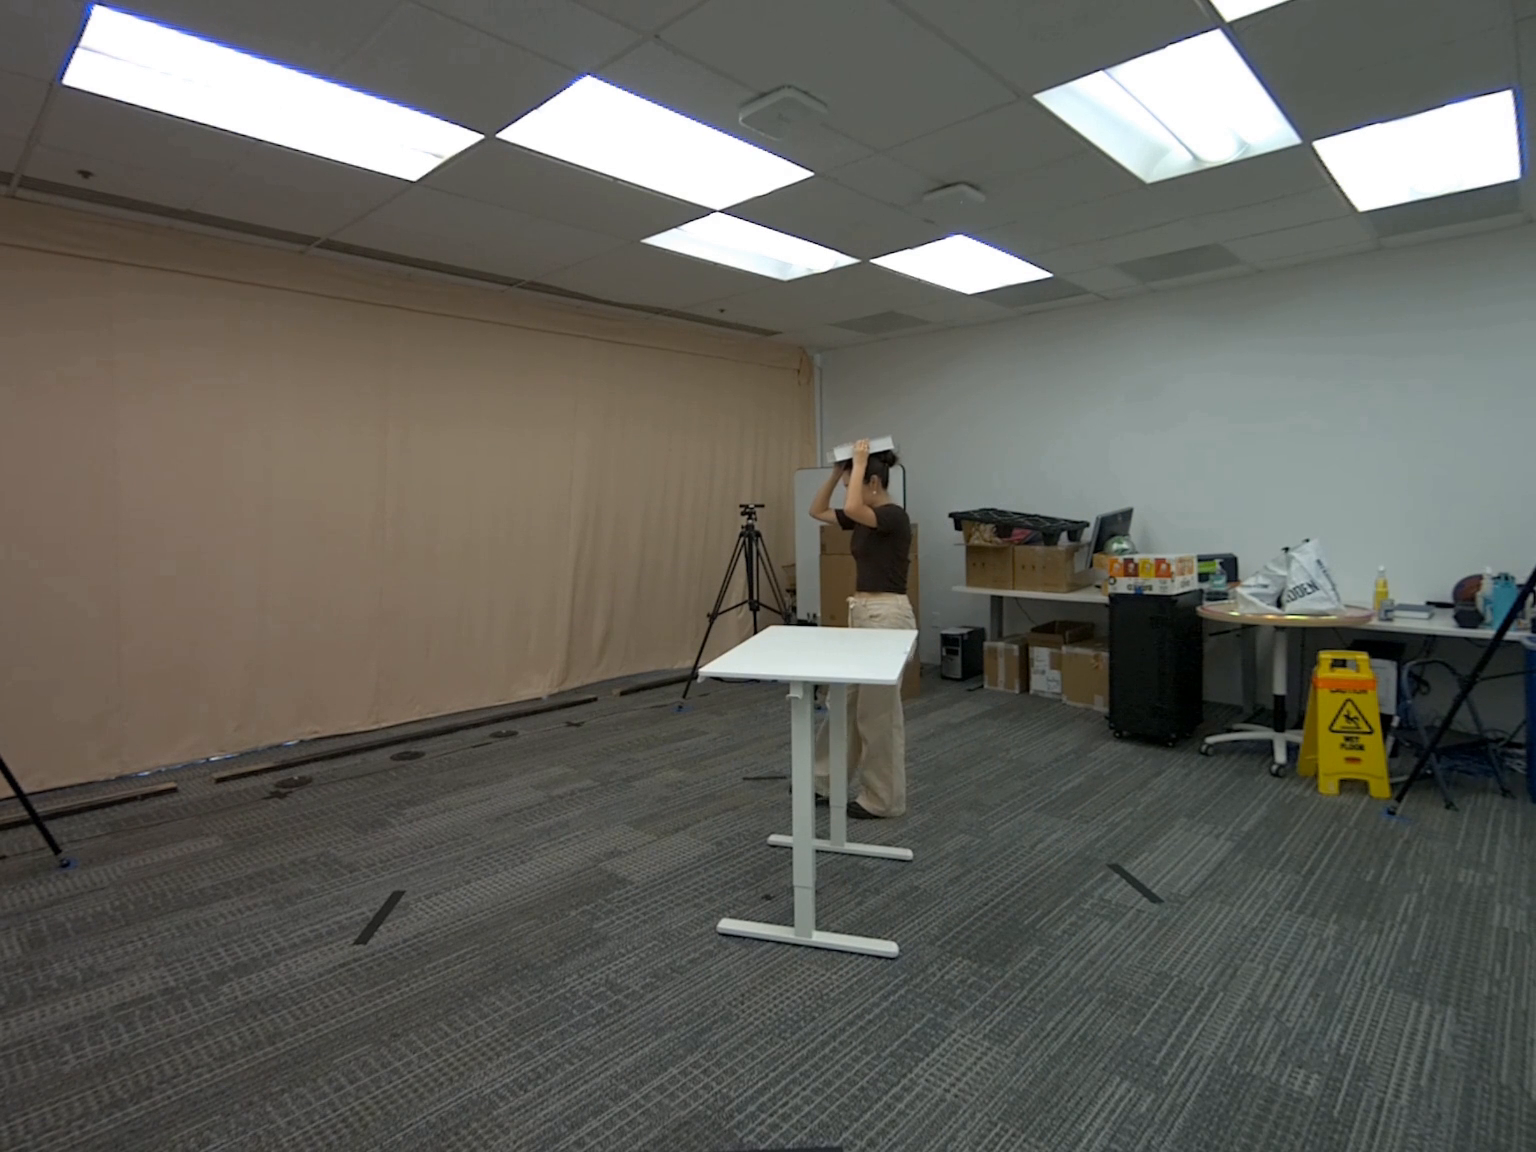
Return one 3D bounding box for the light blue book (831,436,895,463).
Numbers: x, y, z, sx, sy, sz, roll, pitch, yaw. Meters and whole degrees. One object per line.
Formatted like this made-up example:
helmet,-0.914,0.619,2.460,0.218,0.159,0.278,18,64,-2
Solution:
light blue book,0.410,-0.560,3.714,0.261,0.059,0.192,-13,5,-1
